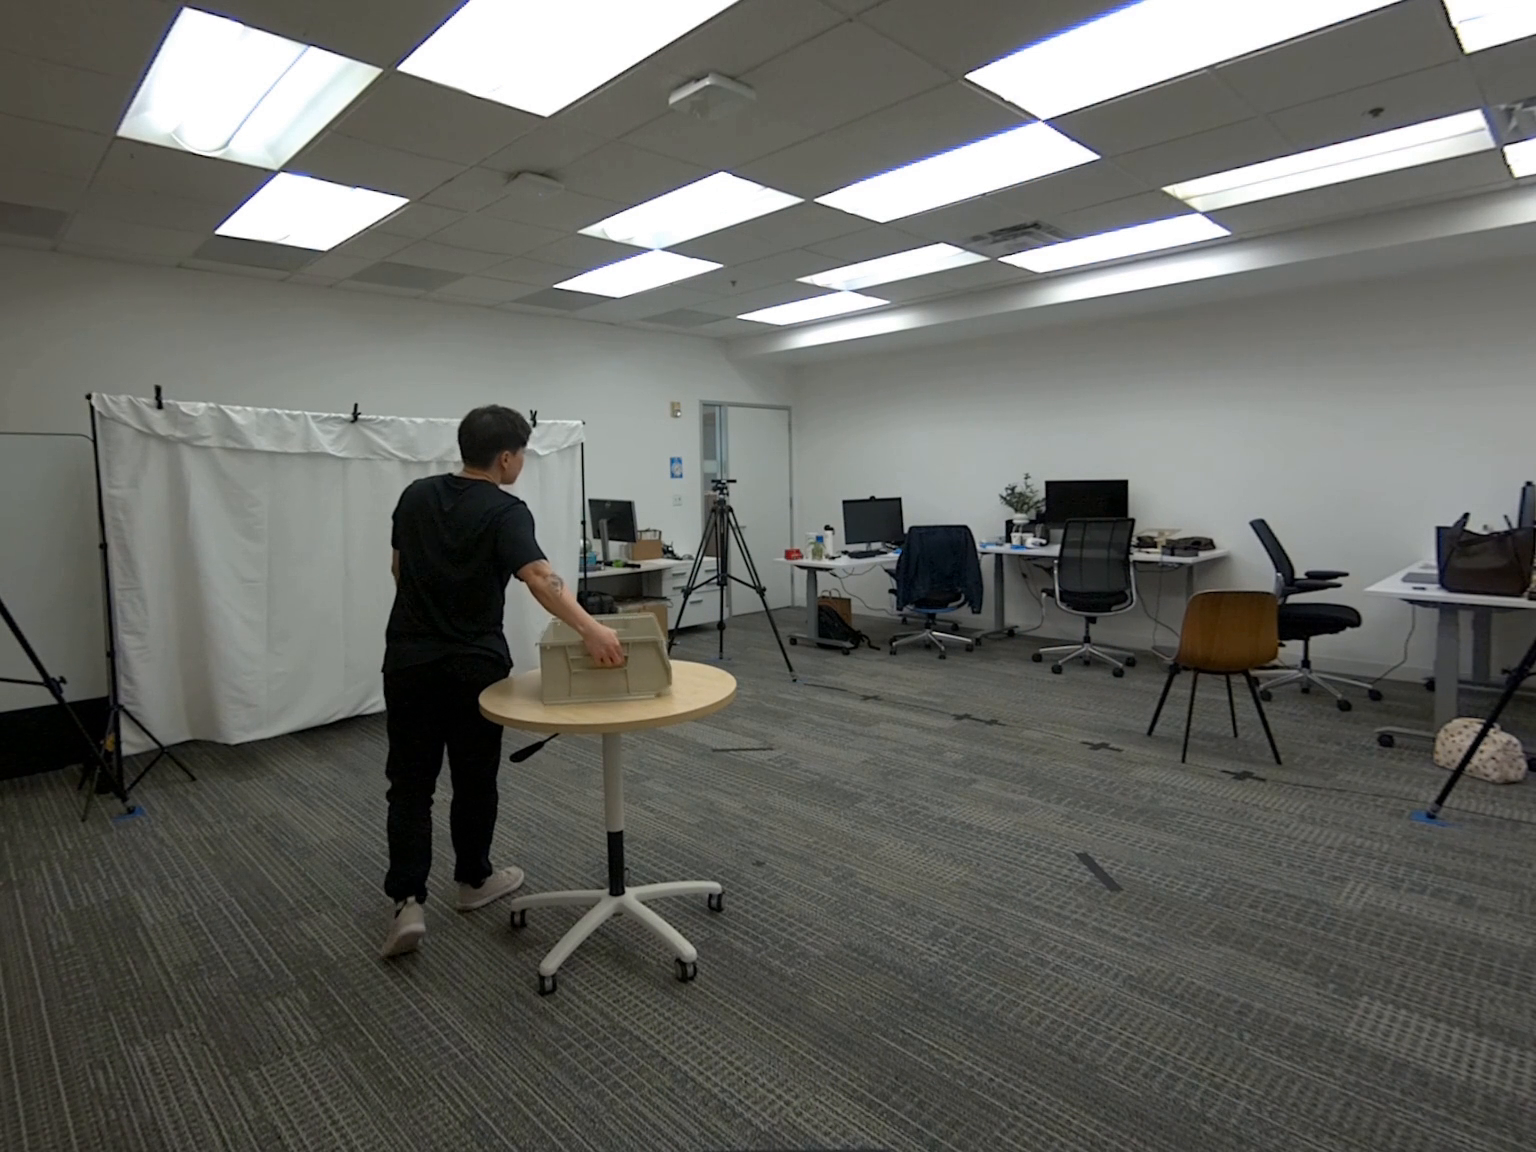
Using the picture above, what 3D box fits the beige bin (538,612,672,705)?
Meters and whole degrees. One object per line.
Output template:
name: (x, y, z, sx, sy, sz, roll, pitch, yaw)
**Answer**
beige bin: (-0.487, 0.242, 2.605, 0.375, 0.188, 0.427, -3, 7, -8)
